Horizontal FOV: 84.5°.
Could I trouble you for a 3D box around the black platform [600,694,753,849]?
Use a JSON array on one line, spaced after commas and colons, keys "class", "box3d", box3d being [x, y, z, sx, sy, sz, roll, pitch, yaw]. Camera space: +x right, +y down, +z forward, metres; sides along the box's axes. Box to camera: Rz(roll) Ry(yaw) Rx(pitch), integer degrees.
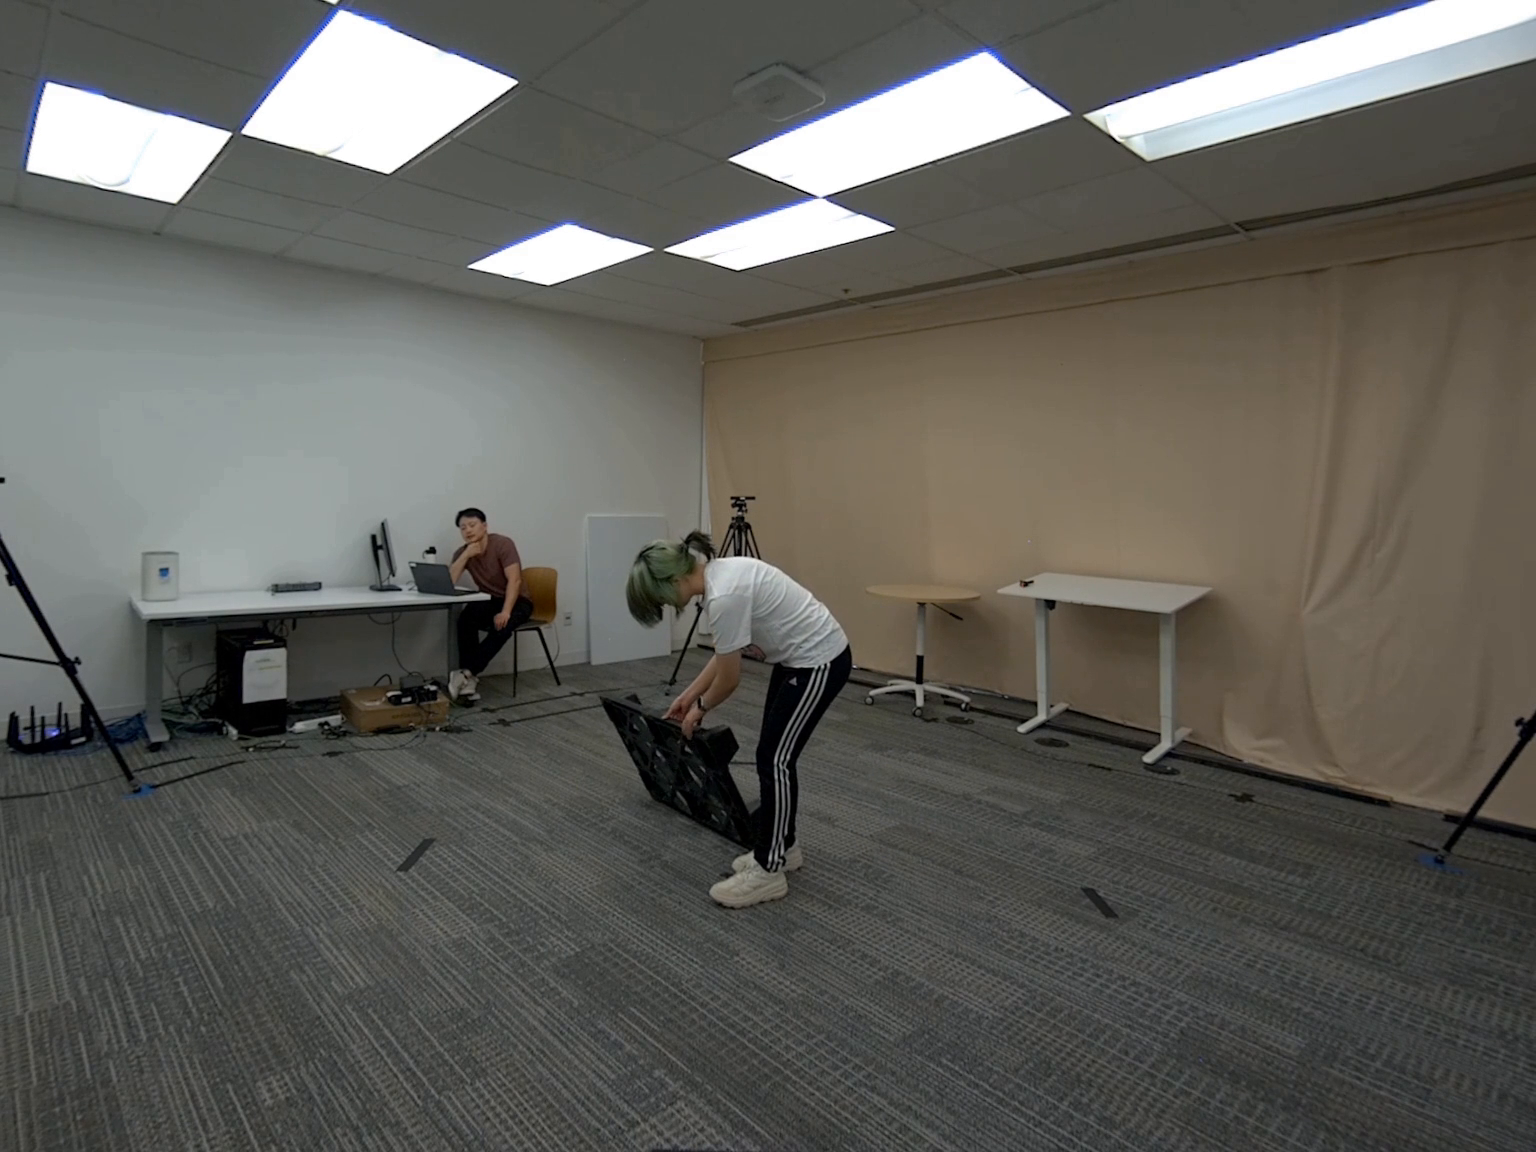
[{"class": "black platform", "box3d": [-0.350, 0.778, 3.504, 0.142, 0.593, 0.826, -36, 25, -31]}]
